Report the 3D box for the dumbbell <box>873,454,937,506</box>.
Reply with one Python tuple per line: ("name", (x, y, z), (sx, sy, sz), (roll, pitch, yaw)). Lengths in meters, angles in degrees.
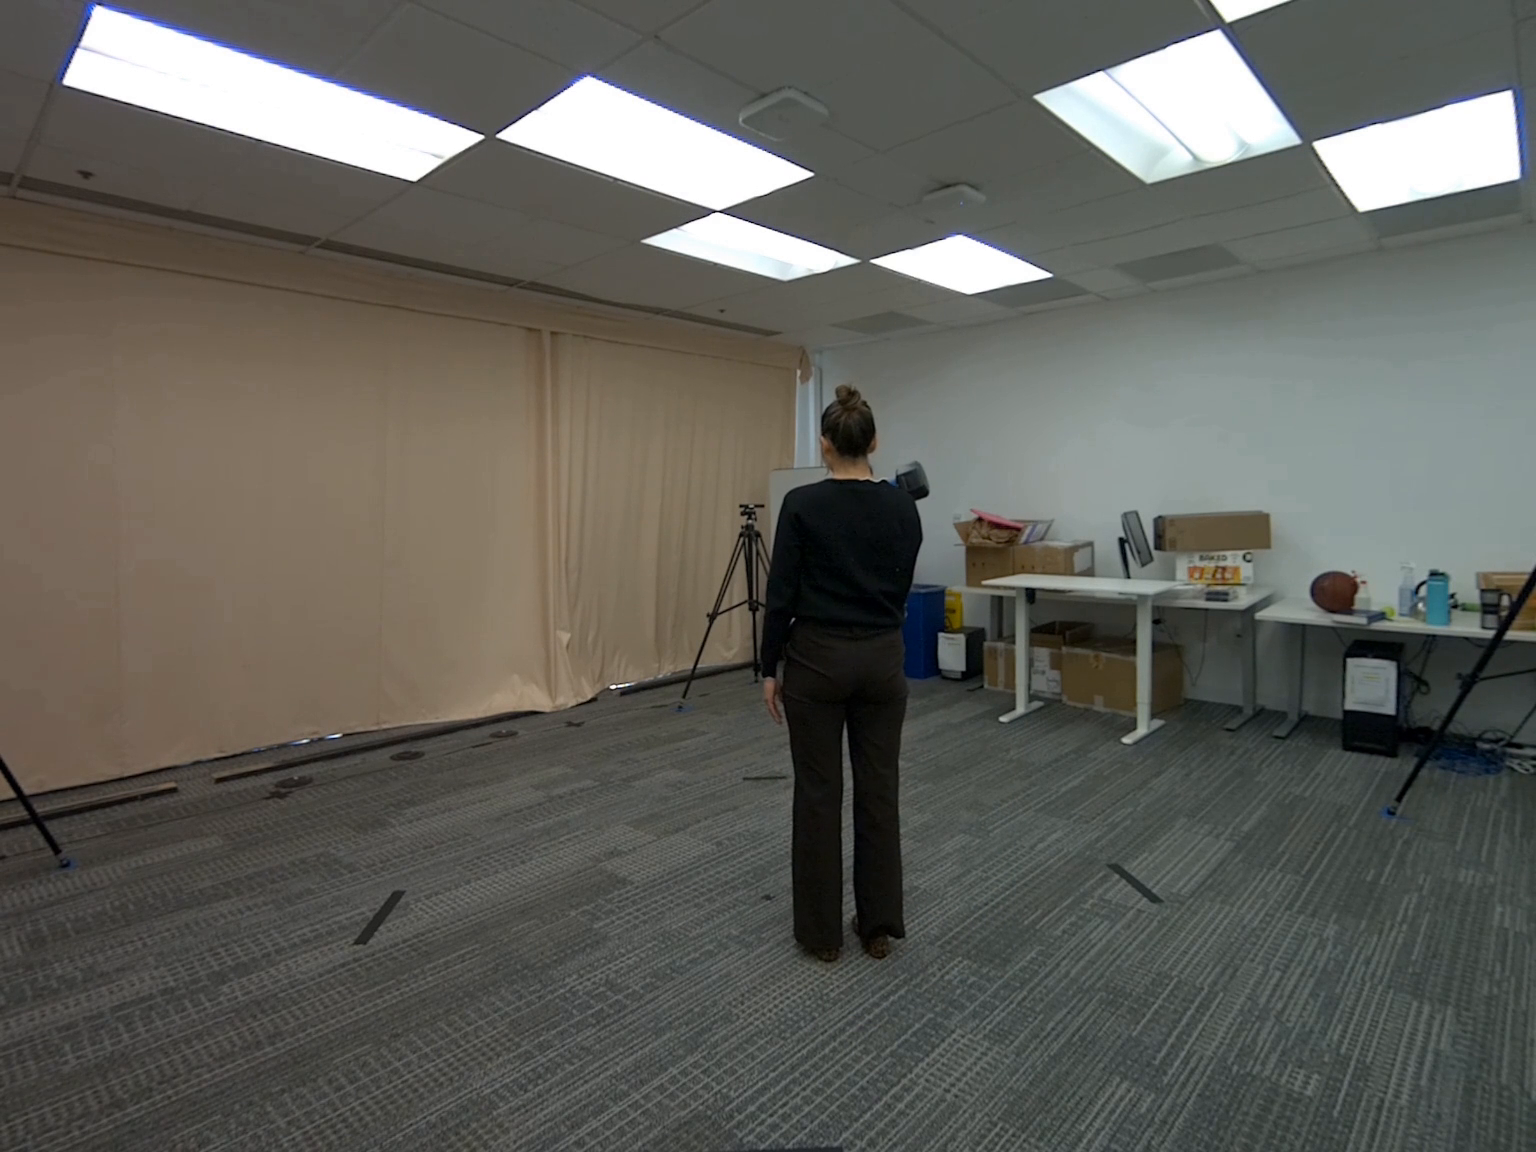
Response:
("dumbbell", (0.379, -0.273, 2.729), (0.299, 0.106, 0.123), (-18, 23, 22))
